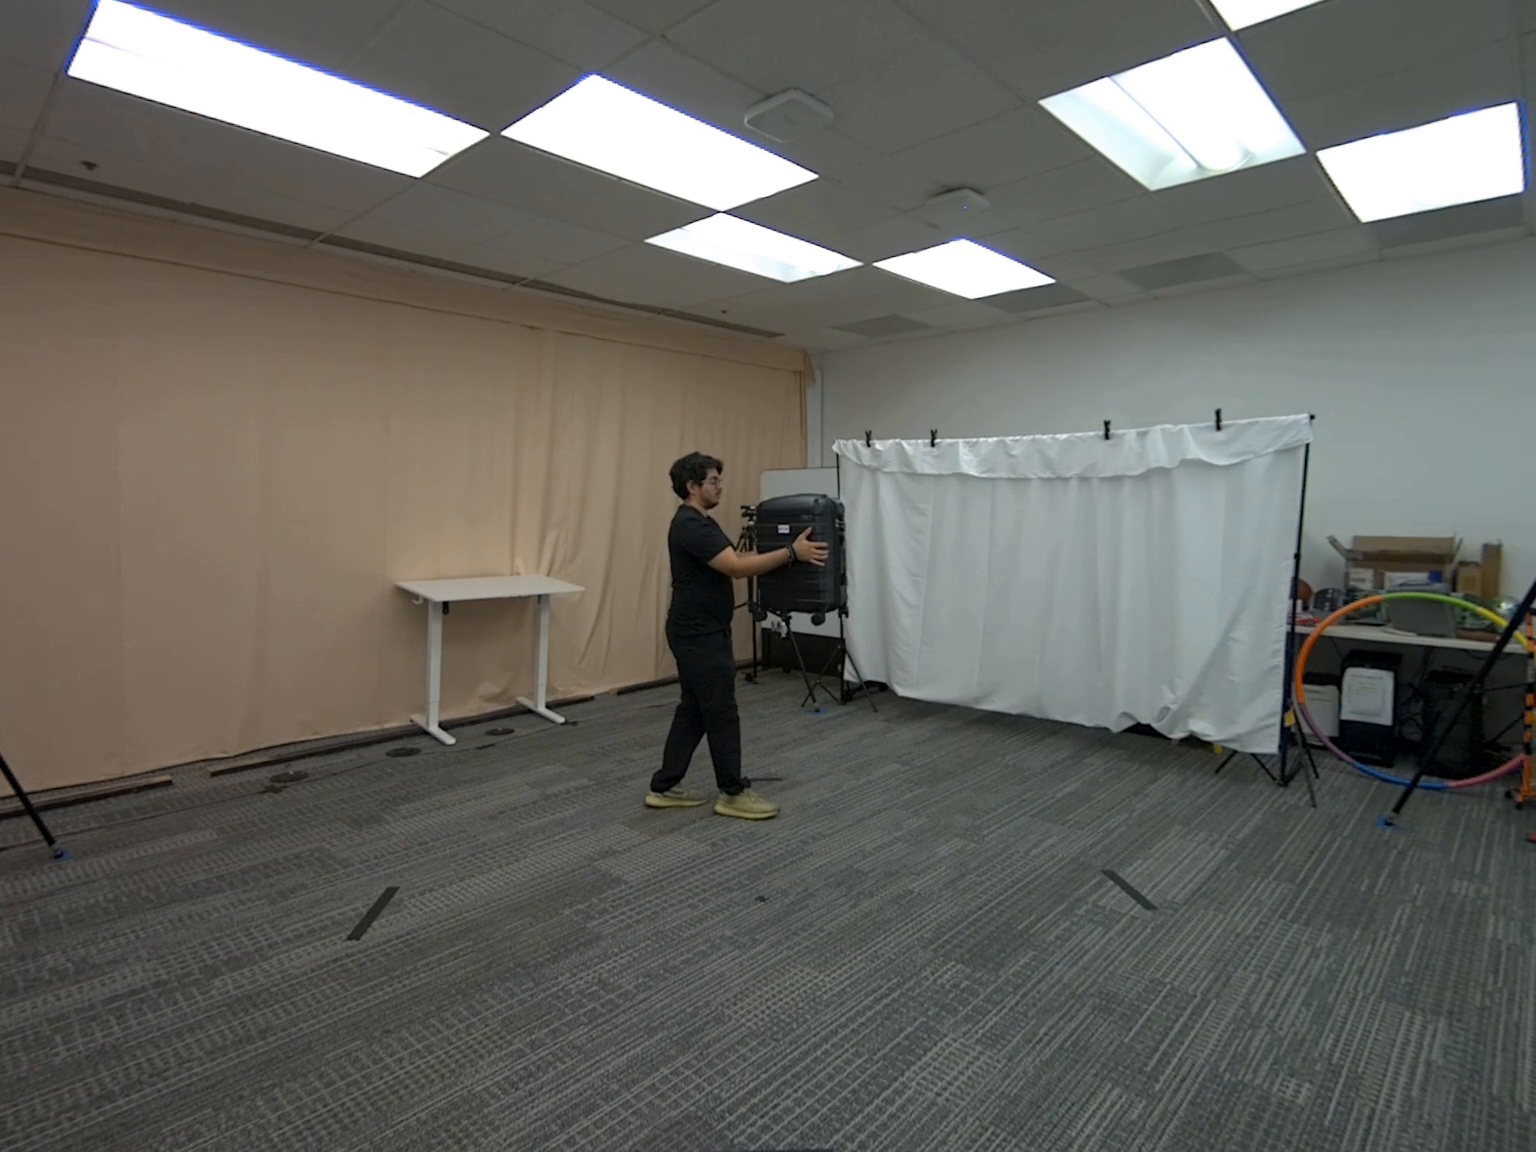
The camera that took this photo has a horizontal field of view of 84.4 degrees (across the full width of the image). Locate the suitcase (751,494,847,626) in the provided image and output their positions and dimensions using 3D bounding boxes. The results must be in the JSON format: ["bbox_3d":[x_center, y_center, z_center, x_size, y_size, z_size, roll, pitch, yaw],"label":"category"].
[{"bbox_3d":[0.151,-0.085,3.683,0.387,0.547,0.242,3,8,35],"label":"suitcase"}]
